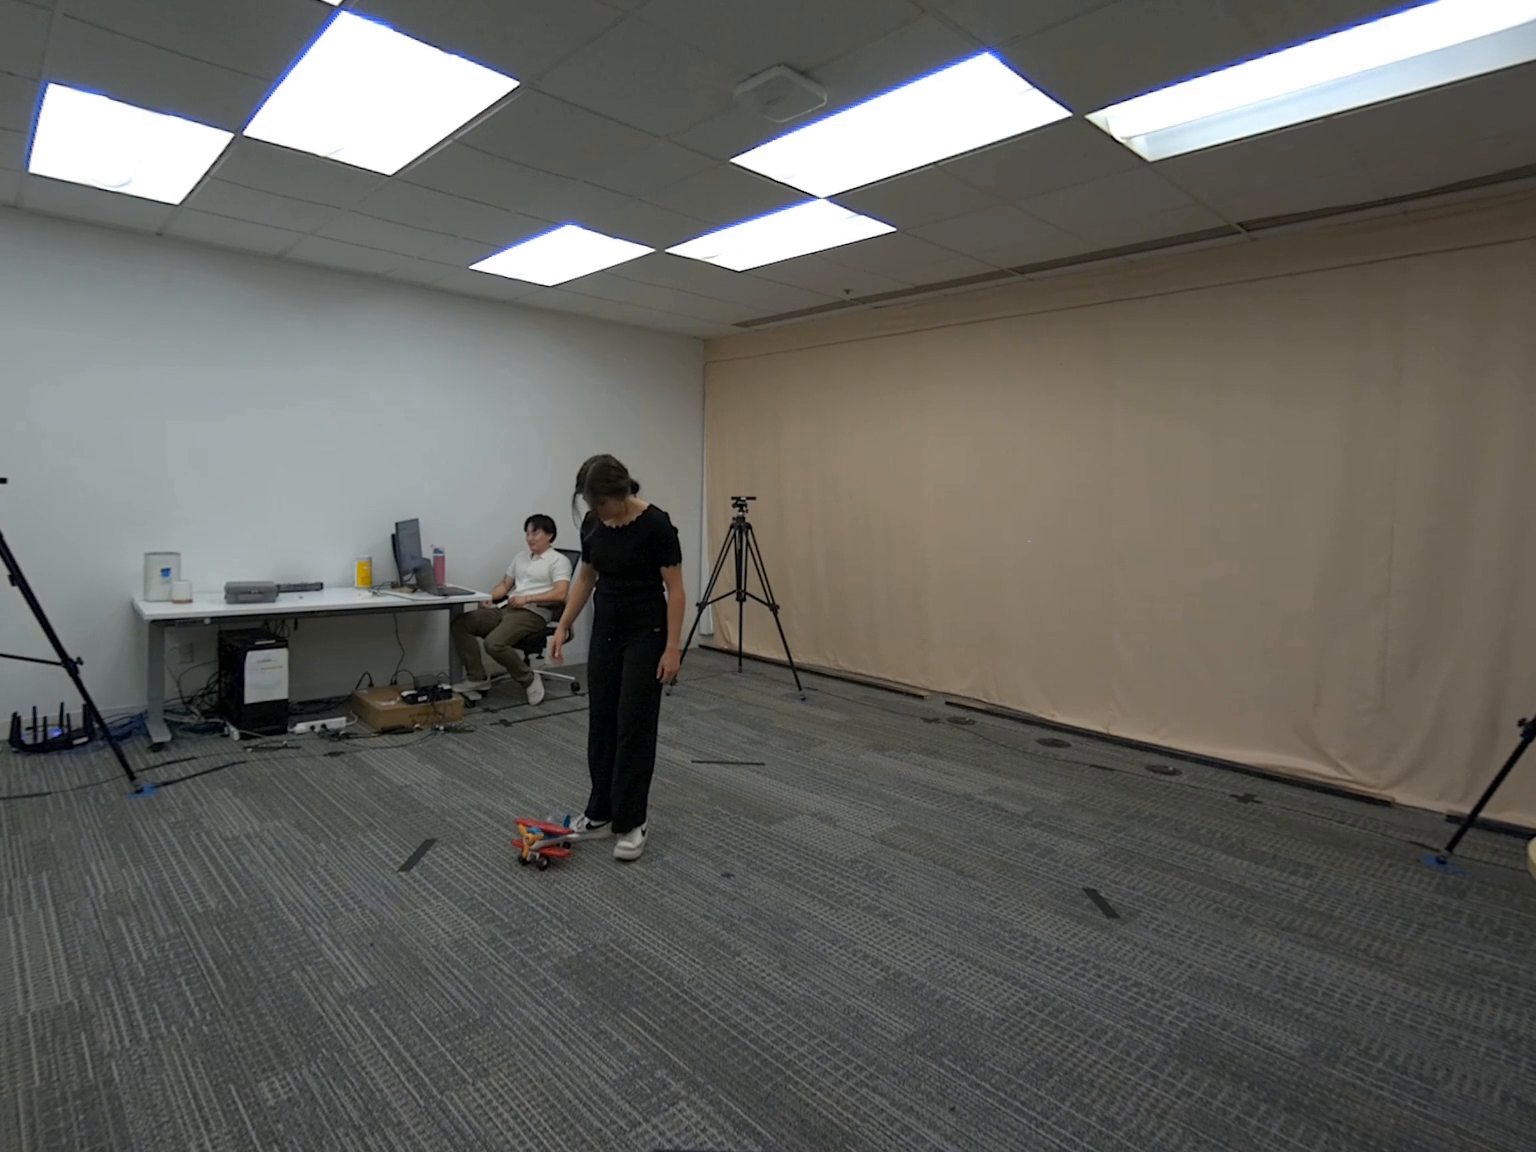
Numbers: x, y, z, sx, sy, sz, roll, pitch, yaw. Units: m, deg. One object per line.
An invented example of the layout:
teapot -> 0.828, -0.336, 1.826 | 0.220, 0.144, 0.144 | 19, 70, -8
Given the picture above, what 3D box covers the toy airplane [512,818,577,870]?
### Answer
toy airplane -> -0.868, 1.006, 3.216 | 0.250, 0.156, 0.261 | 1, 6, -4
